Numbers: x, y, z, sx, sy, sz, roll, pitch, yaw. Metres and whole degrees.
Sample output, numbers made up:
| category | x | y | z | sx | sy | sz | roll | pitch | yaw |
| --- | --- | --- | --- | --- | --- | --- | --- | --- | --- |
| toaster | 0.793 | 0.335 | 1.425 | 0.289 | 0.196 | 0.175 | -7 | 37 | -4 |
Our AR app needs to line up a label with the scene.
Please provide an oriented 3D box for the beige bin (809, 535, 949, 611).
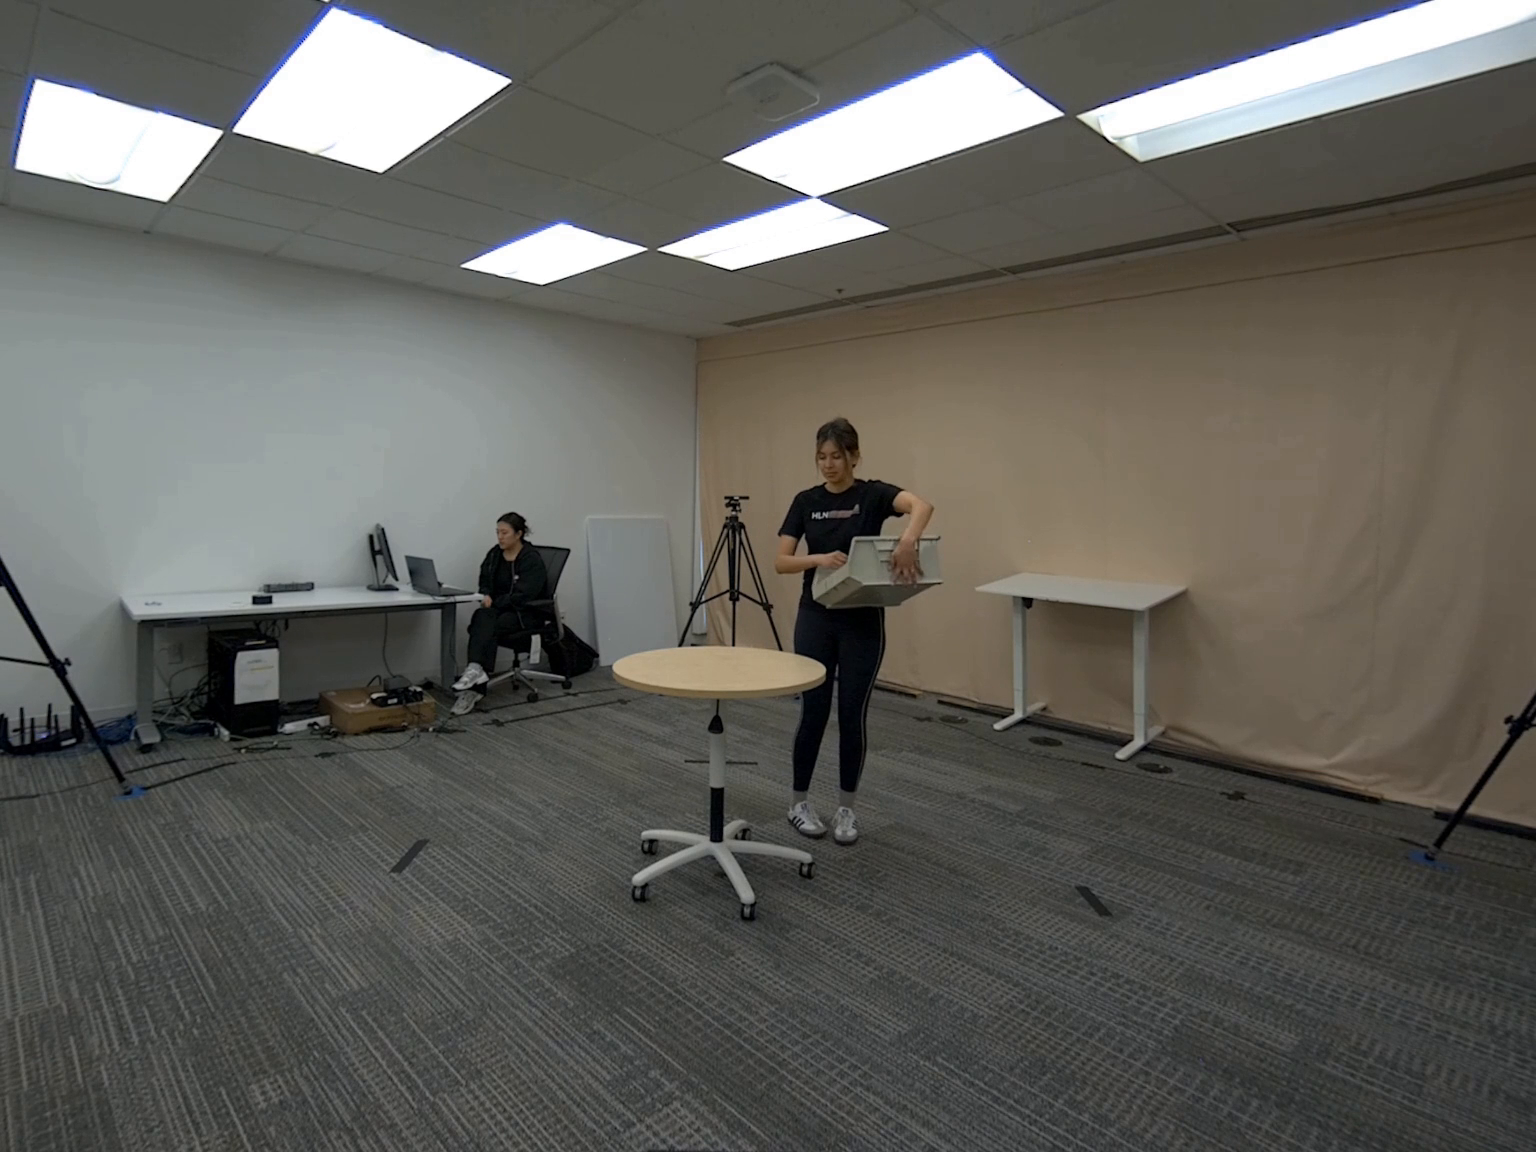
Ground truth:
| category | x | y | z | sx | sy | sz | roll | pitch | yaw |
| --- | --- | --- | --- | --- | --- | --- | --- | --- | --- |
| beige bin | 0.405 | -0.005 | 3.236 | 0.373 | 0.191 | 0.422 | -1 | -14 | -14 |
